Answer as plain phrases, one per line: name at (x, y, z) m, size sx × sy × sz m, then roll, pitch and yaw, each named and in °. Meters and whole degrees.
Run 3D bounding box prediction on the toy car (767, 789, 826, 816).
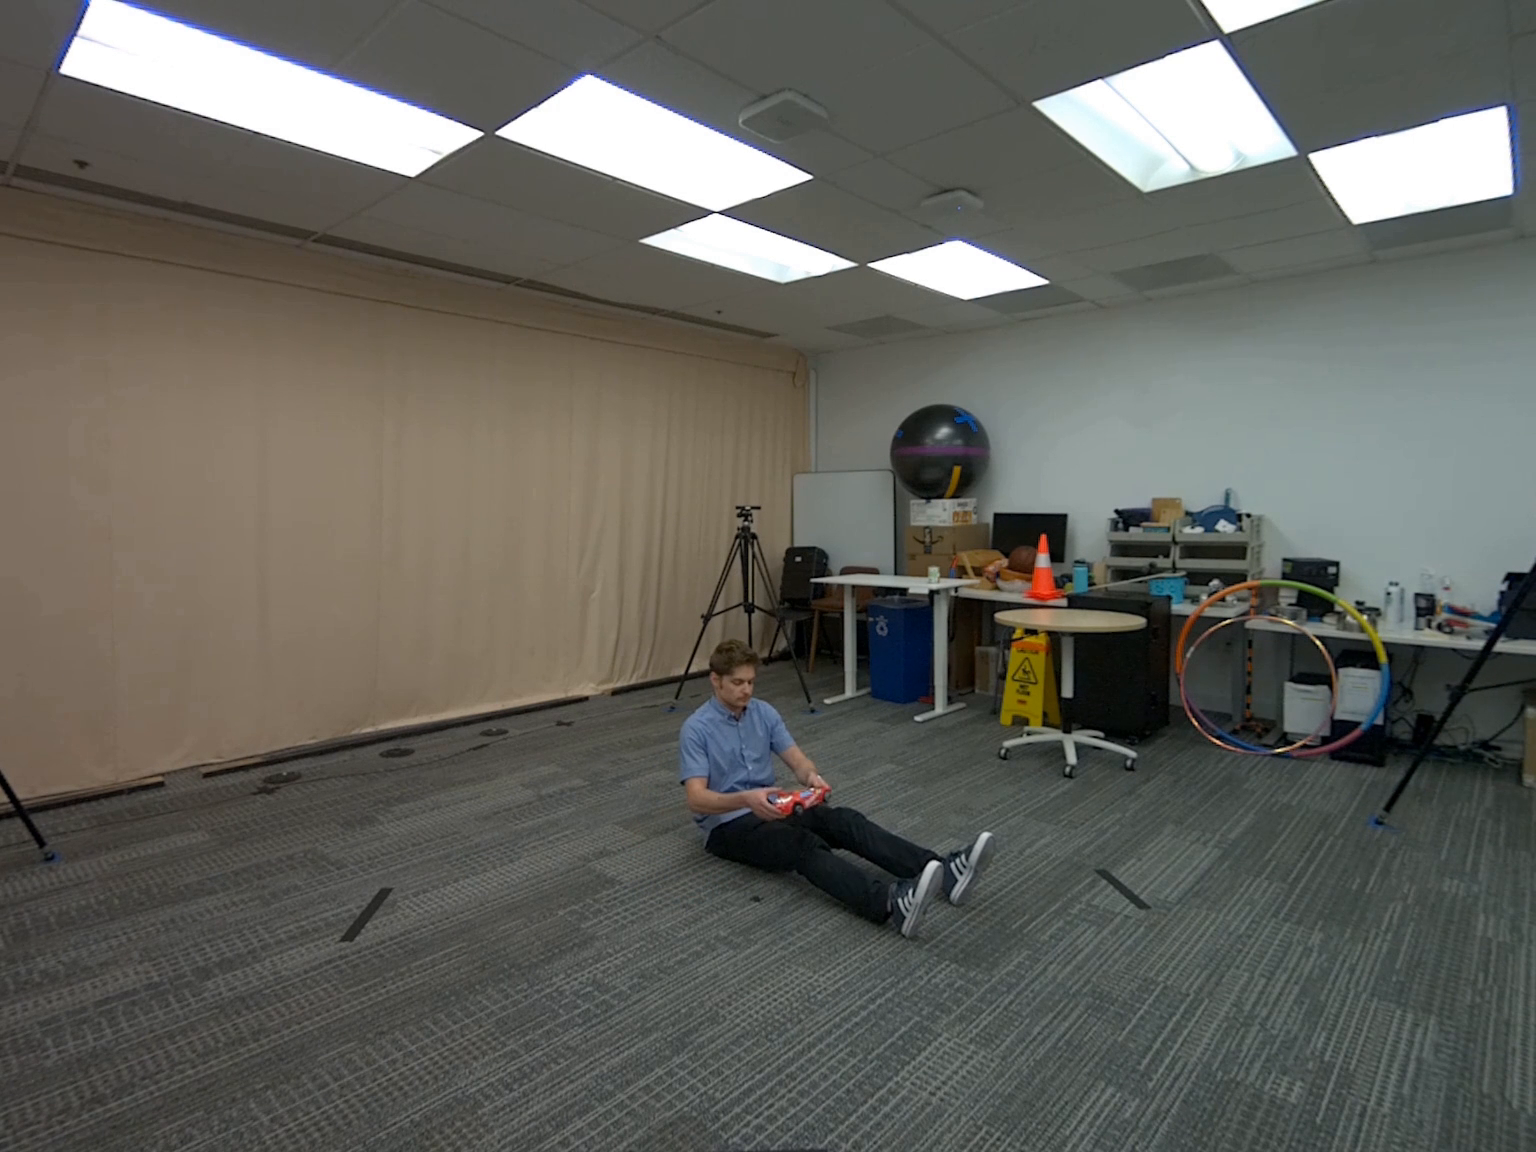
toy car at (0.106, 0.822, 3.046) m, size 0.247 × 0.084 × 0.133 m, roll 0°, pitch -12°, yaw -32°
